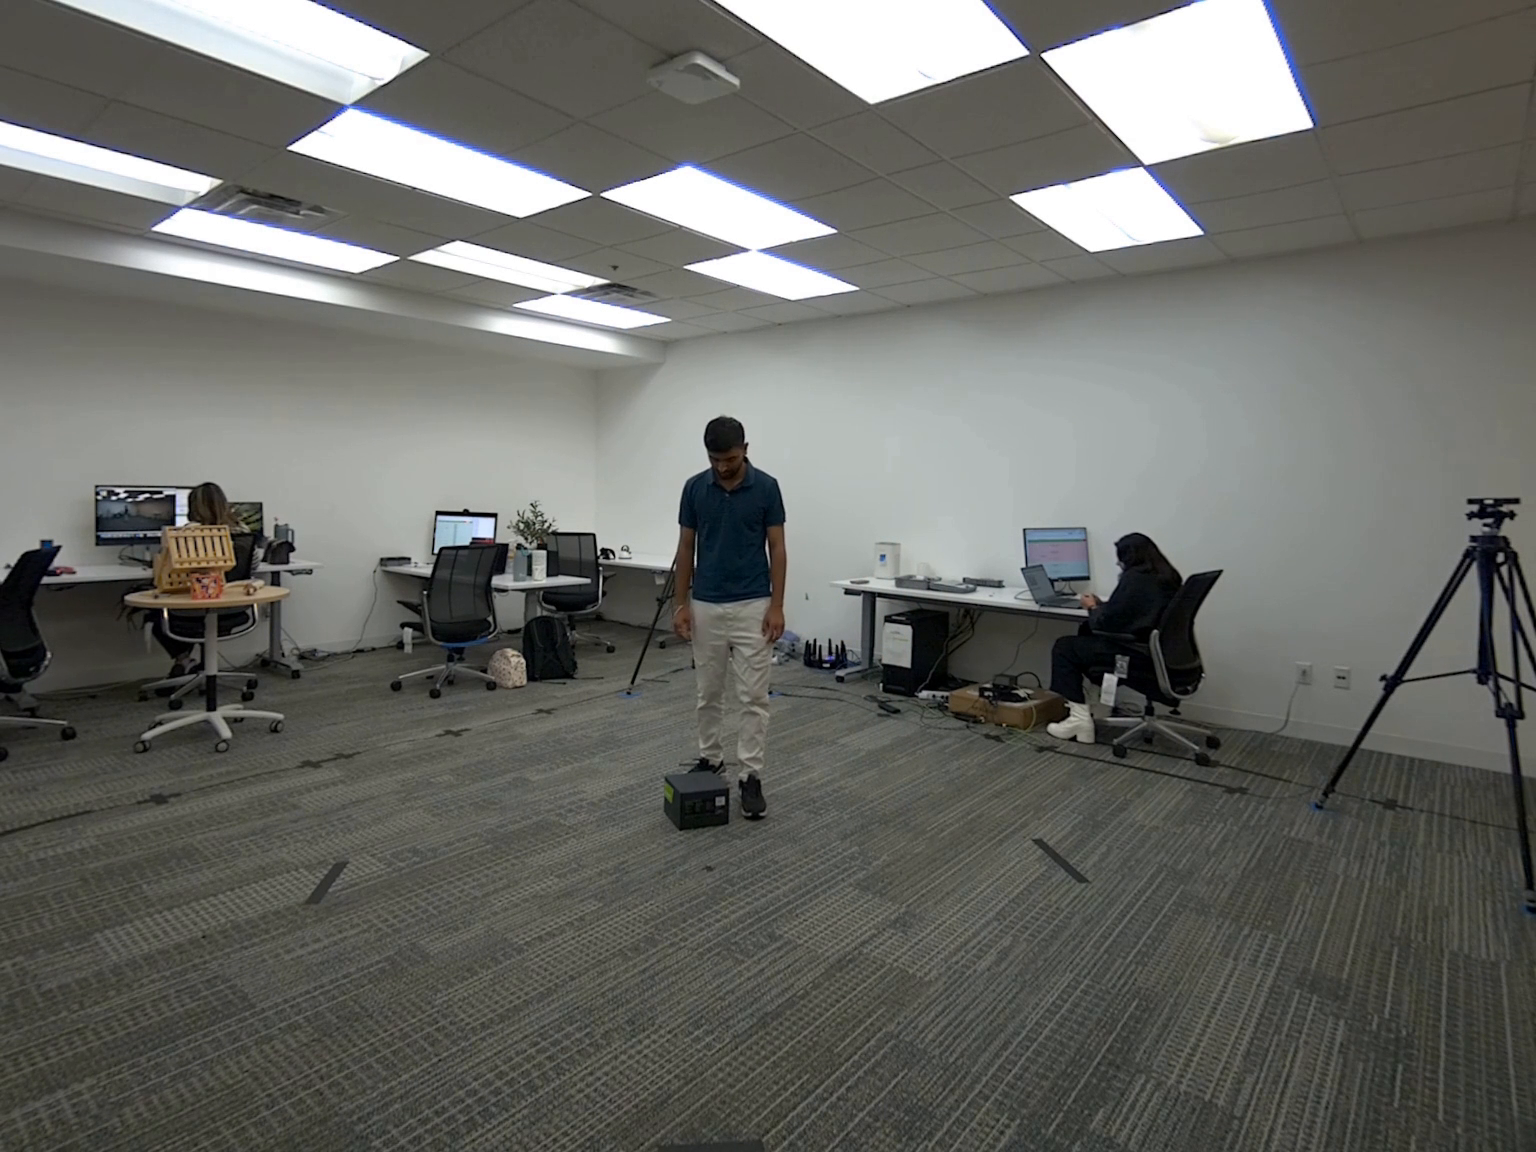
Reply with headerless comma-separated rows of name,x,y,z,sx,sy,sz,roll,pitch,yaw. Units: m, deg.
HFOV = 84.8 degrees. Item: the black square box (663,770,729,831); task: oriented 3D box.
black square box,-0.315,0.937,3.582,0.212,0.155,0.234,-1,5,-23
